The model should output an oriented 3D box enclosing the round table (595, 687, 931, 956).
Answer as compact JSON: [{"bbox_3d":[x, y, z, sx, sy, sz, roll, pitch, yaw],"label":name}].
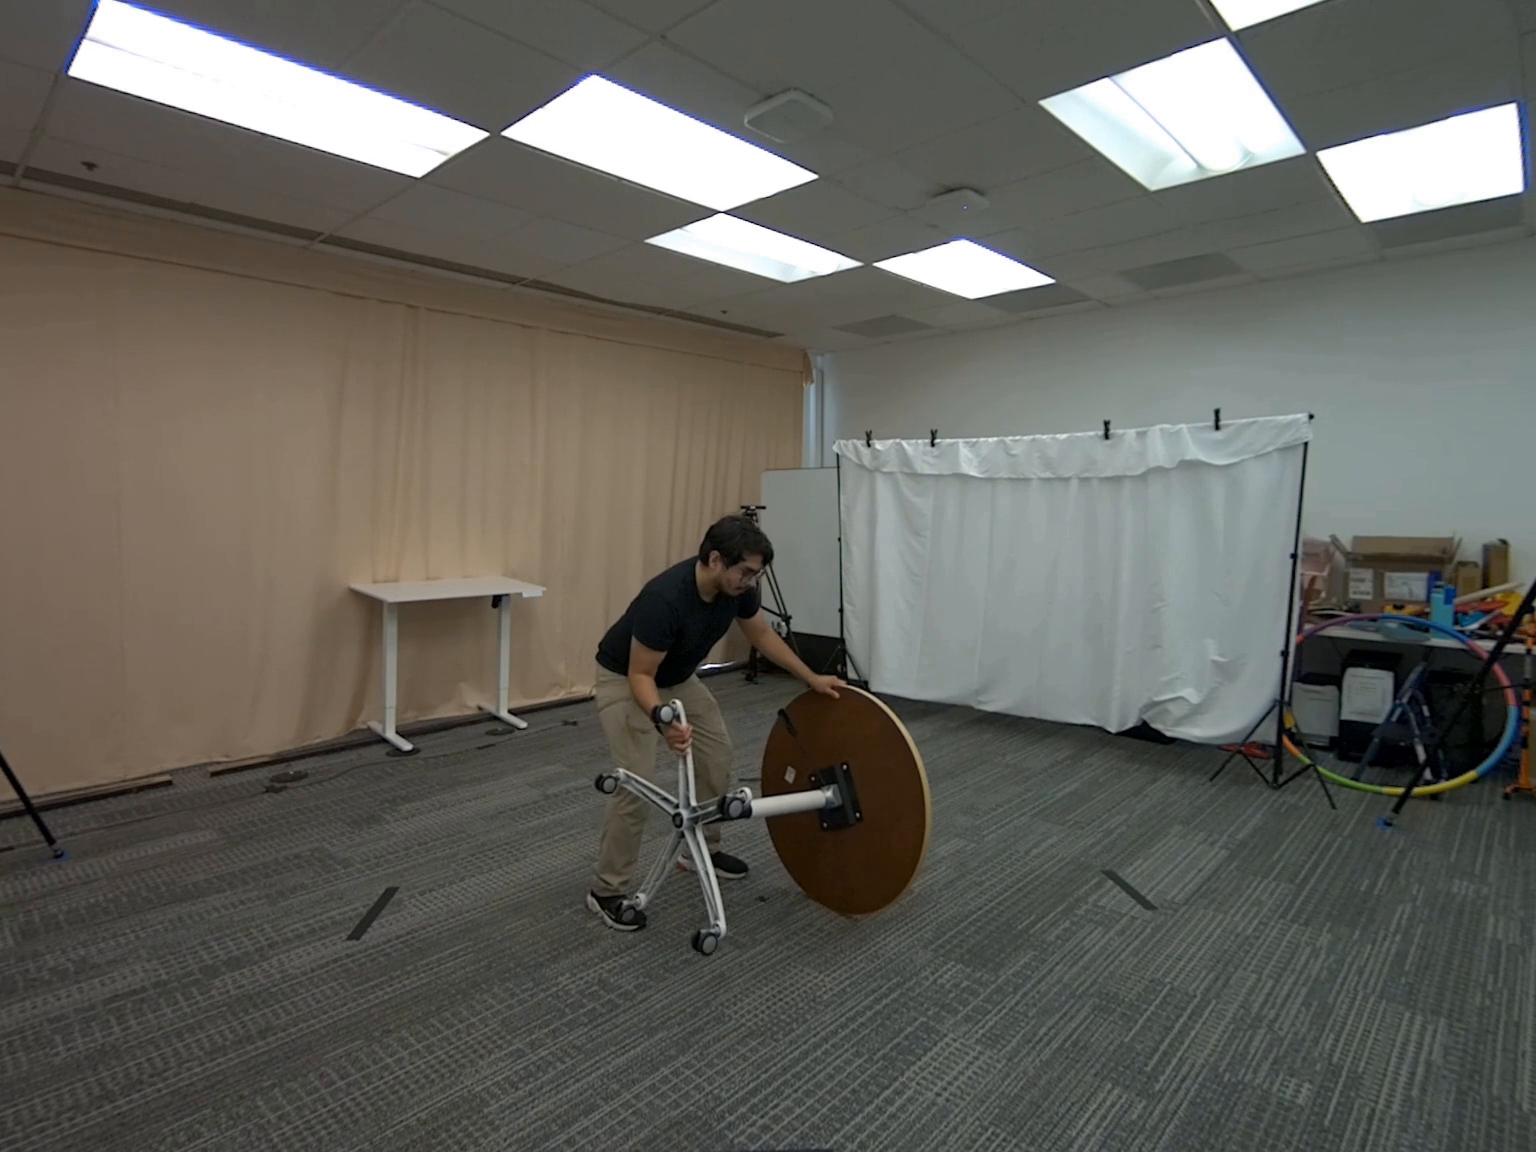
[{"bbox_3d":[-0.026,0.748,2.684,0.761,0.785,0.811,5,0,-41],"label":"round table"}]
